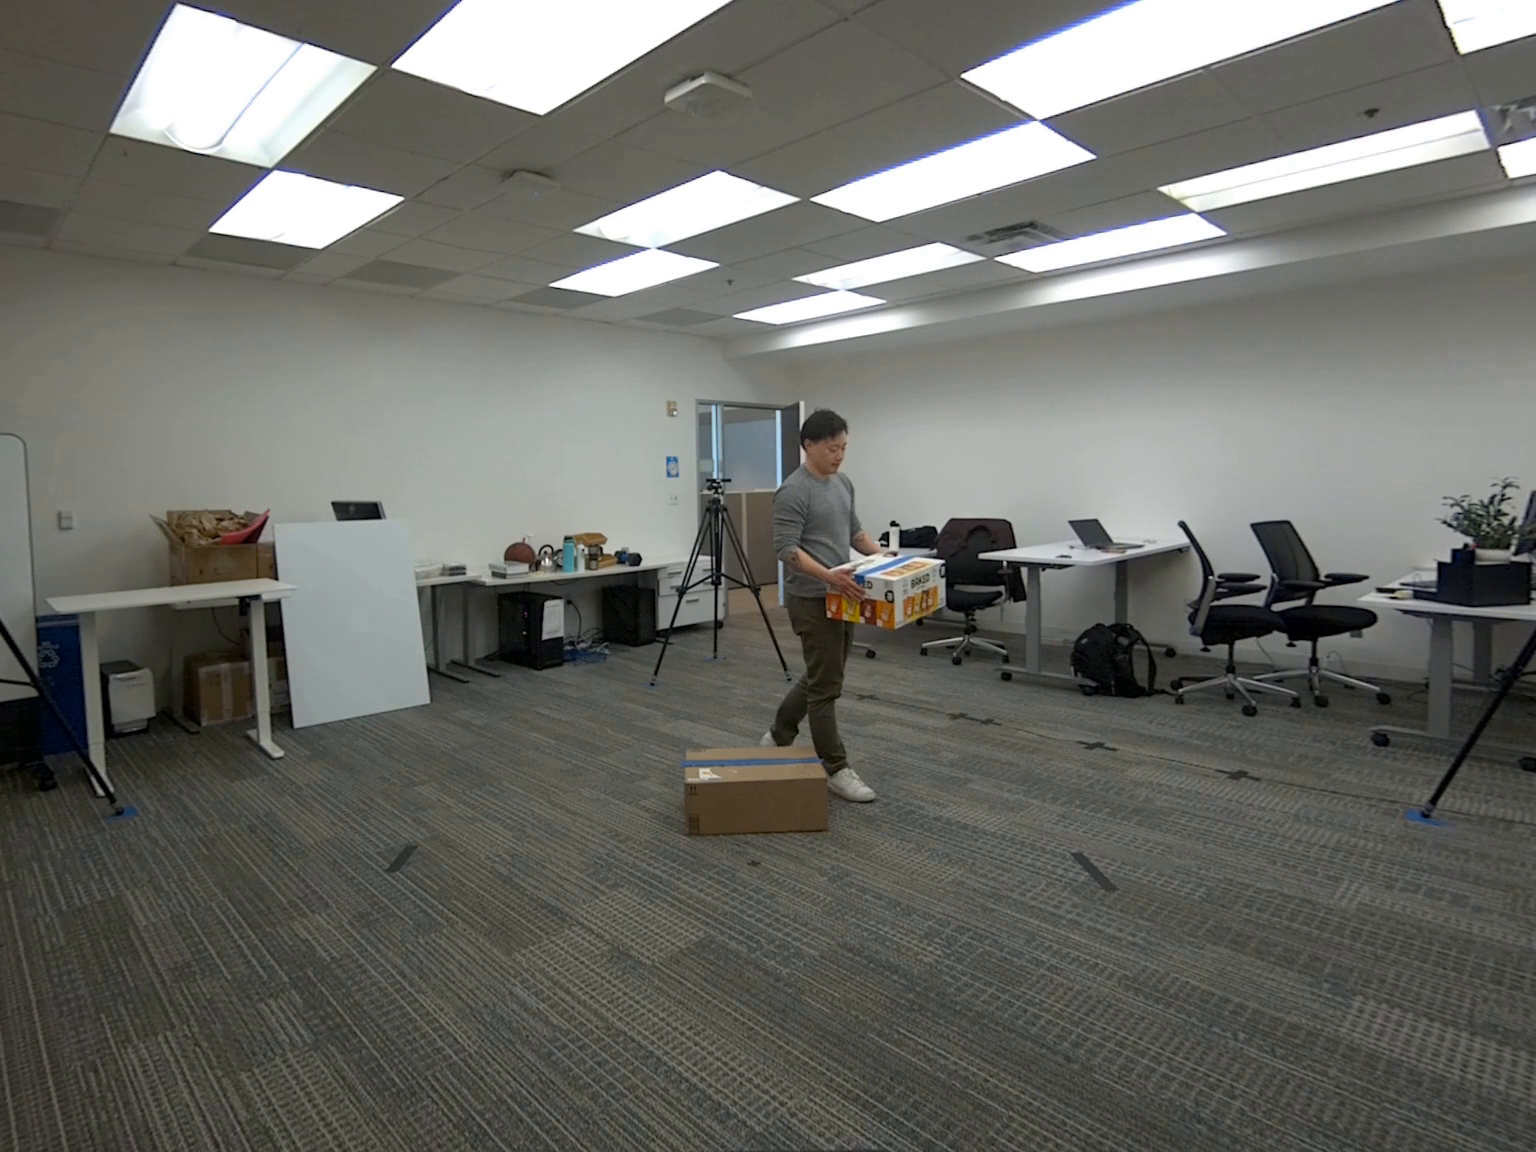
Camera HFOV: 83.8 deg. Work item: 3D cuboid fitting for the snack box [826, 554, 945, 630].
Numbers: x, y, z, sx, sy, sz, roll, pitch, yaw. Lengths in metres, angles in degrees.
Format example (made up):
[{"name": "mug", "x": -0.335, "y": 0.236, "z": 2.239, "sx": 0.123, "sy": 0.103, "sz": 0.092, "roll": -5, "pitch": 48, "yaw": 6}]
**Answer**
[{"name": "snack box", "x": 0.504, "y": 0.058, "z": 3.632, "sx": 0.351, "sy": 0.203, "sz": 0.397, "roll": 8, "pitch": 17, "yaw": 42}]
